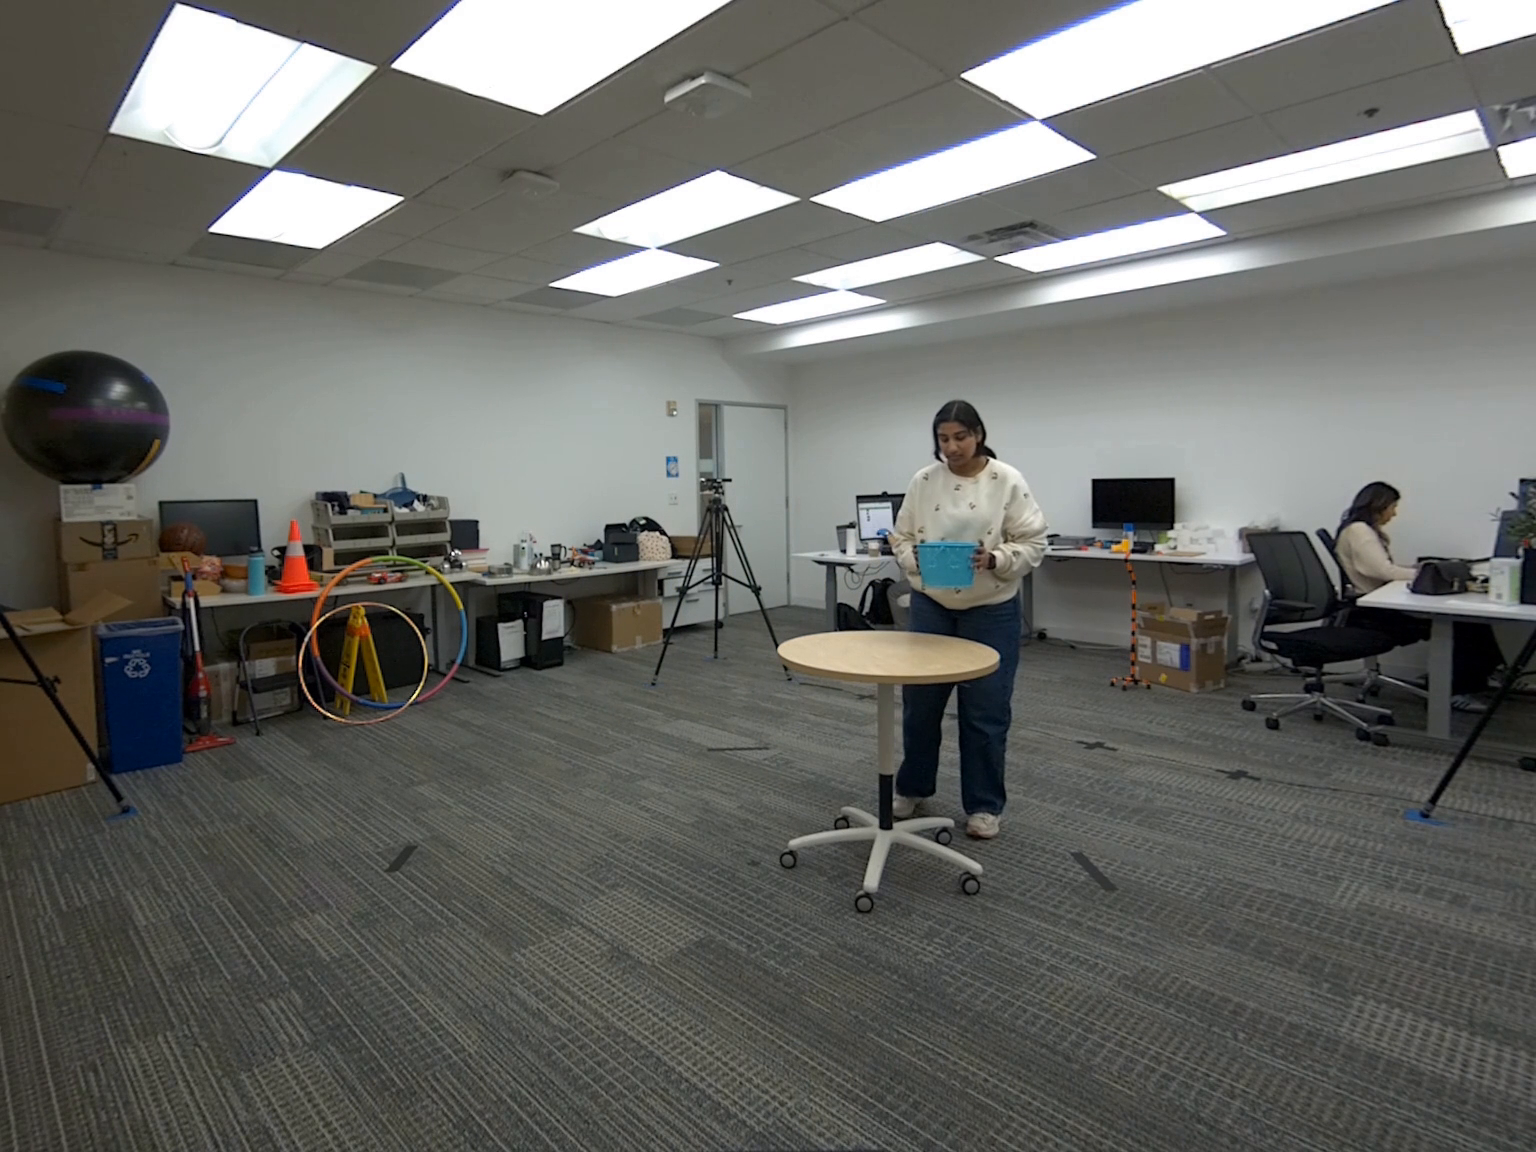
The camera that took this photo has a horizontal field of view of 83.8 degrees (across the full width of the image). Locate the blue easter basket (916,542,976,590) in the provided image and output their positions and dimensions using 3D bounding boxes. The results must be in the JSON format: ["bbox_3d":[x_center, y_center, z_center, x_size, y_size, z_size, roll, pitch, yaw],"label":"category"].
[{"bbox_3d":[0.656,-0.041,3.142,0.243,0.155,0.244,1,4,-2],"label":"blue easter basket"}]
